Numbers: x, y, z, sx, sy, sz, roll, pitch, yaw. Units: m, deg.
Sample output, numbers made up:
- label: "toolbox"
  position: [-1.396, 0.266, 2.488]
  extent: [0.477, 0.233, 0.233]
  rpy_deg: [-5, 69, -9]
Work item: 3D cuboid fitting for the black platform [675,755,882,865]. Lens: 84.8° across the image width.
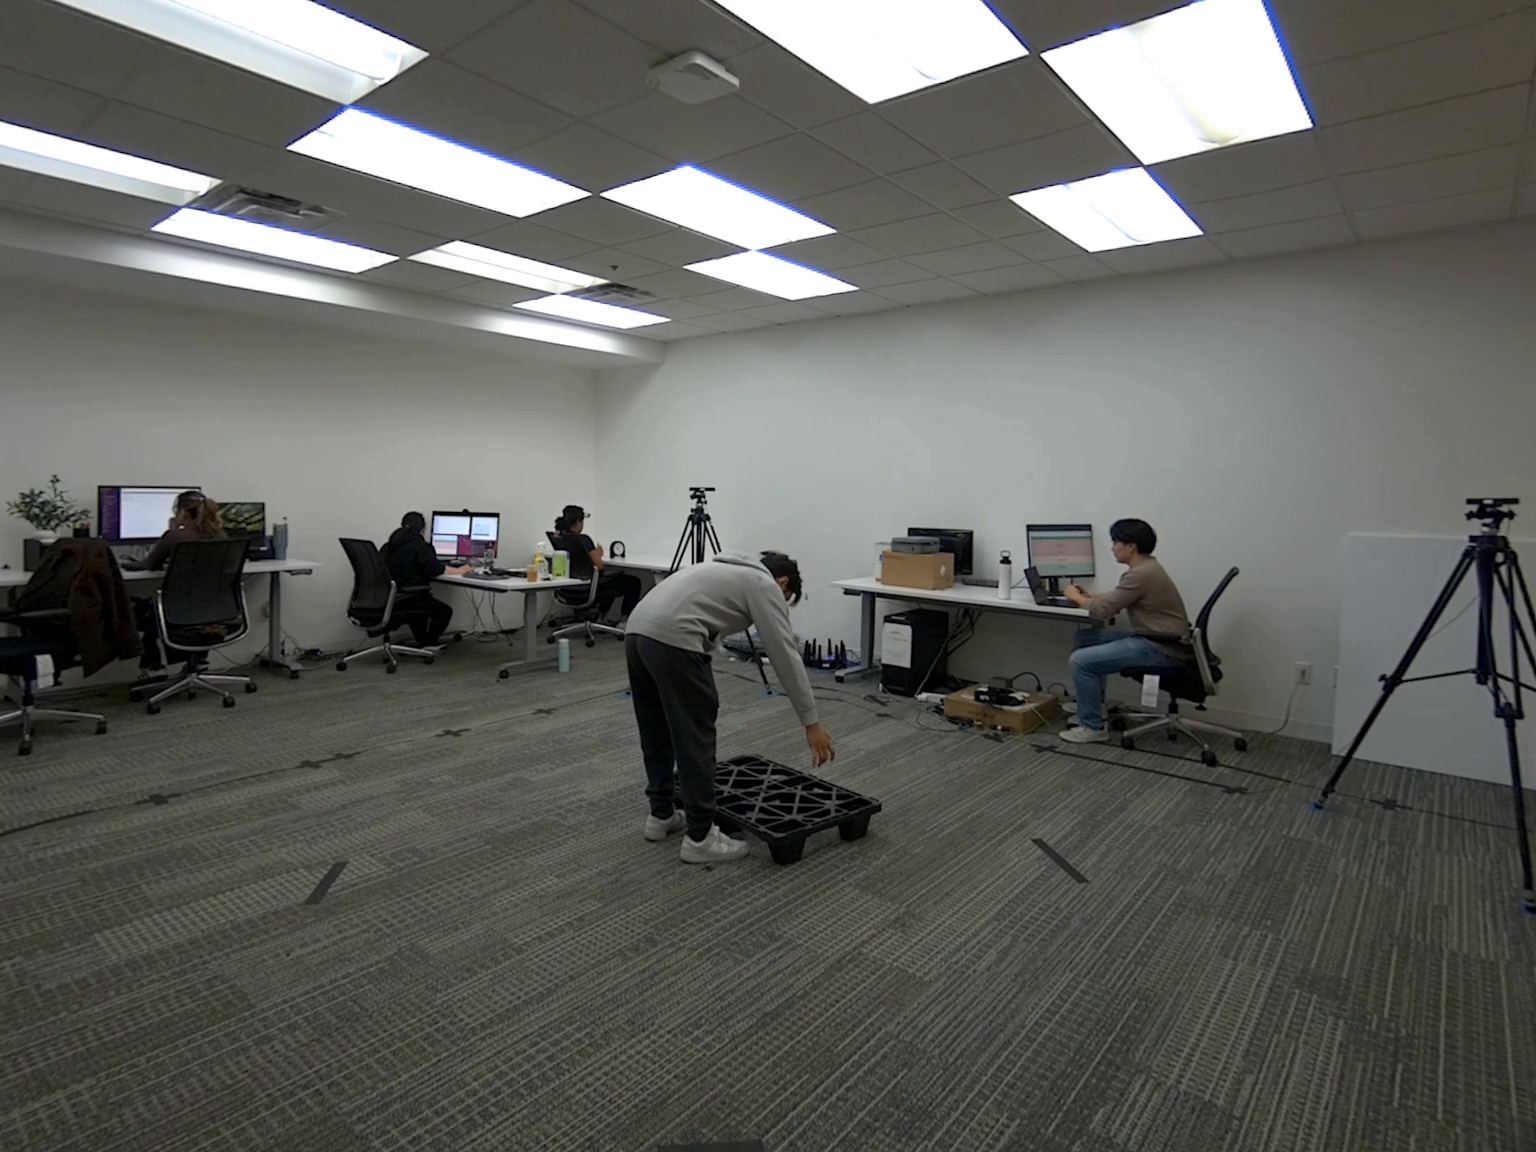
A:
- label: "black platform"
  position: [-0.026, 0.961, 3.568]
  extent: [0.587, 0.143, 0.833]
  rpy_deg: [-4, 8, -41]
